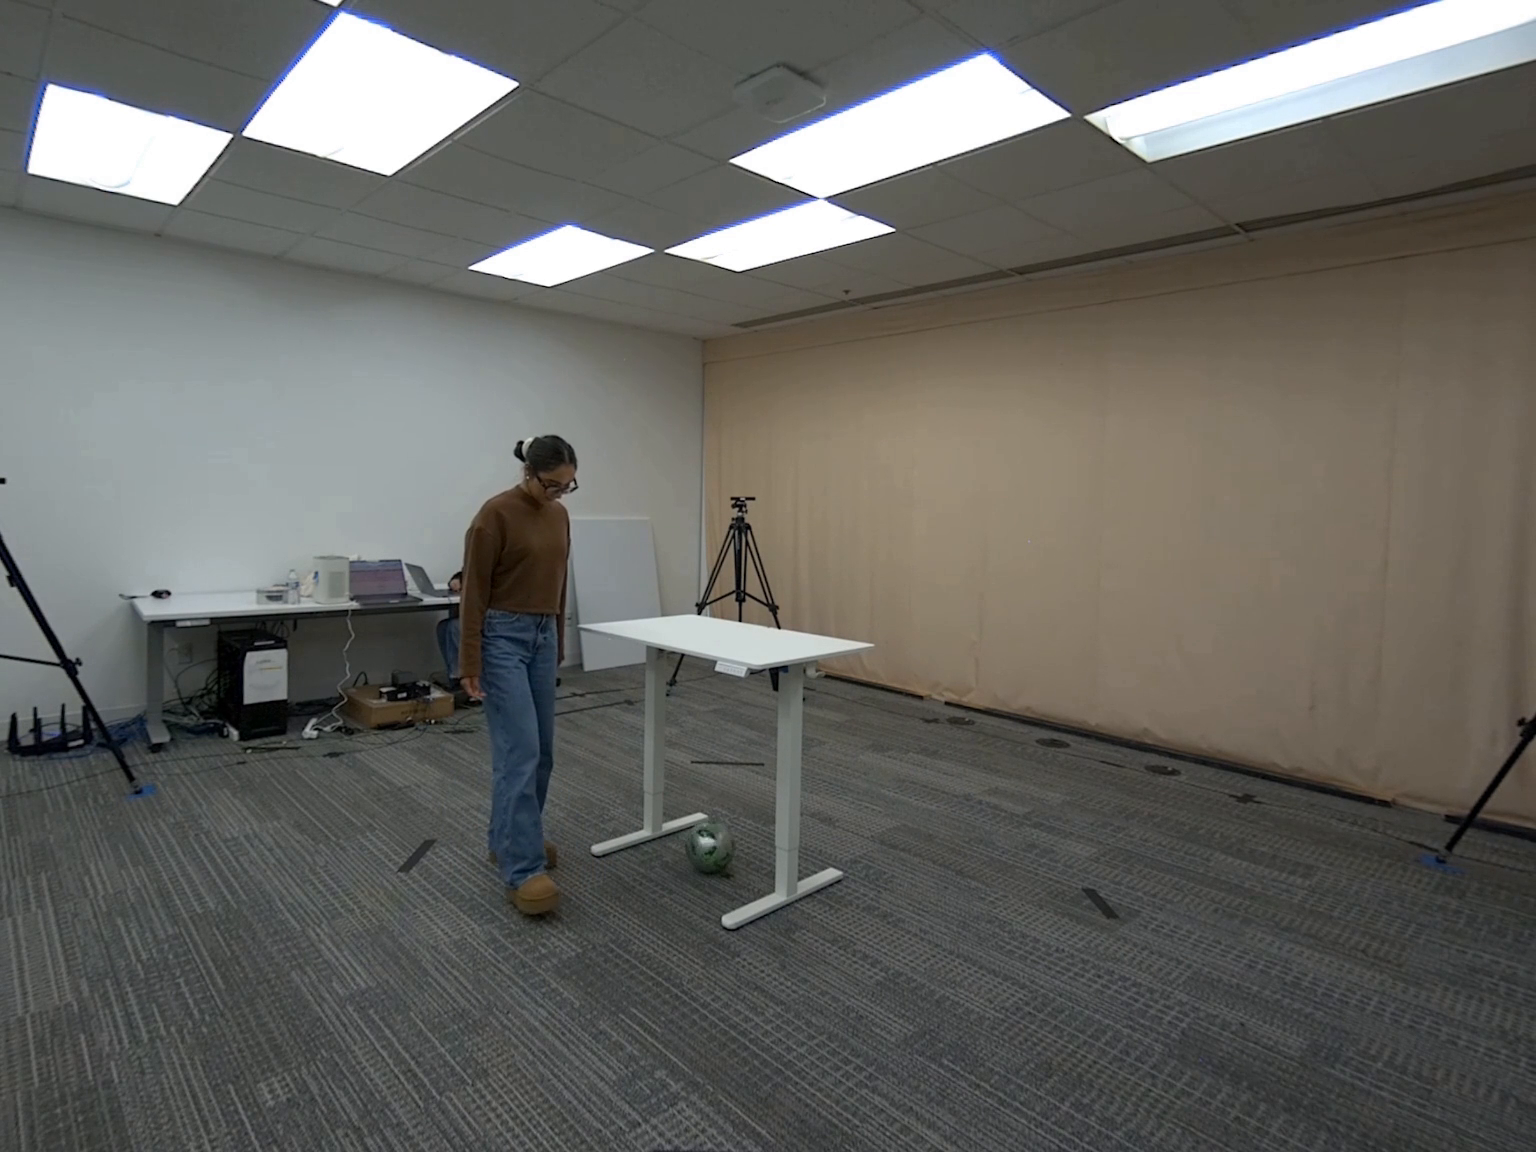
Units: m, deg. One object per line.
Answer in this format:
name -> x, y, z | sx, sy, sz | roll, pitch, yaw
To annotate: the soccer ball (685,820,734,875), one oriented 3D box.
soccer ball -> -0.221, 1.009, 3.134 | 0.187, 0.187, 0.188 | 1, 4, -1
